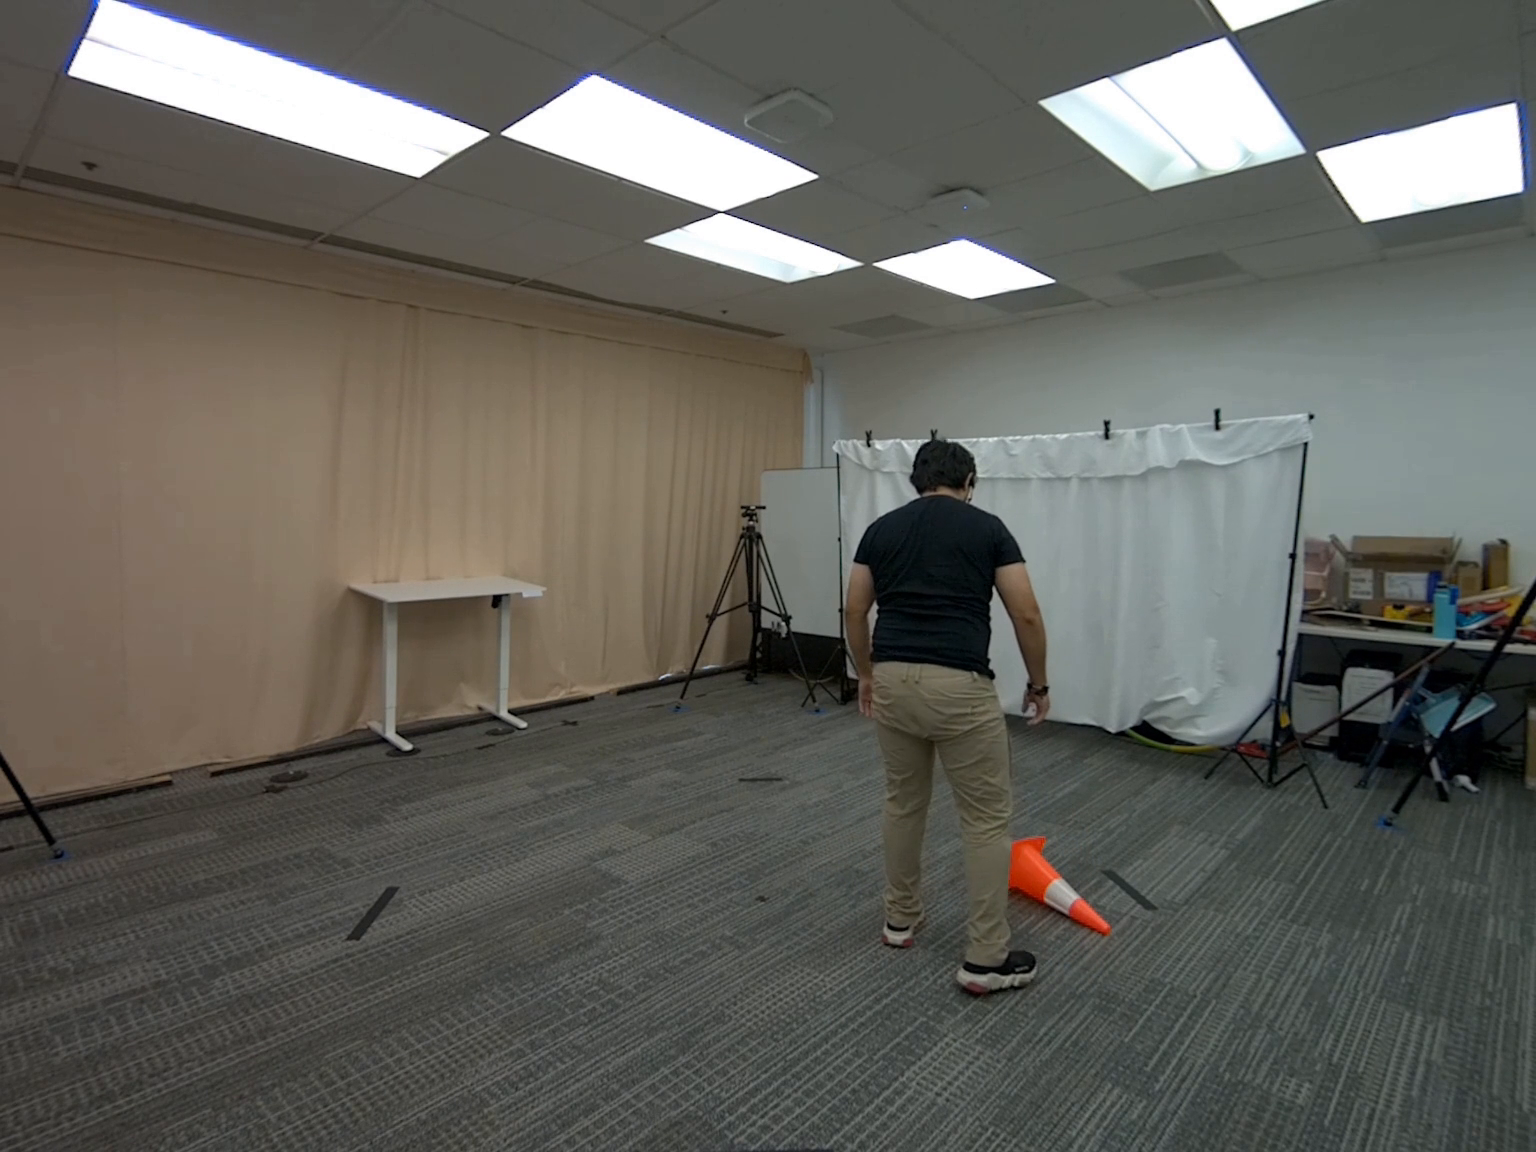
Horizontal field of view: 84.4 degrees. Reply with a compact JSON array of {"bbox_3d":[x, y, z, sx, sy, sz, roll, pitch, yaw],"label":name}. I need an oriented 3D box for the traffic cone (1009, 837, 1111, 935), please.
[{"bbox_3d":[1.015,1.105,2.886,0.200,0.202,0.397,-1,18,-28],"label":"traffic cone"}]
